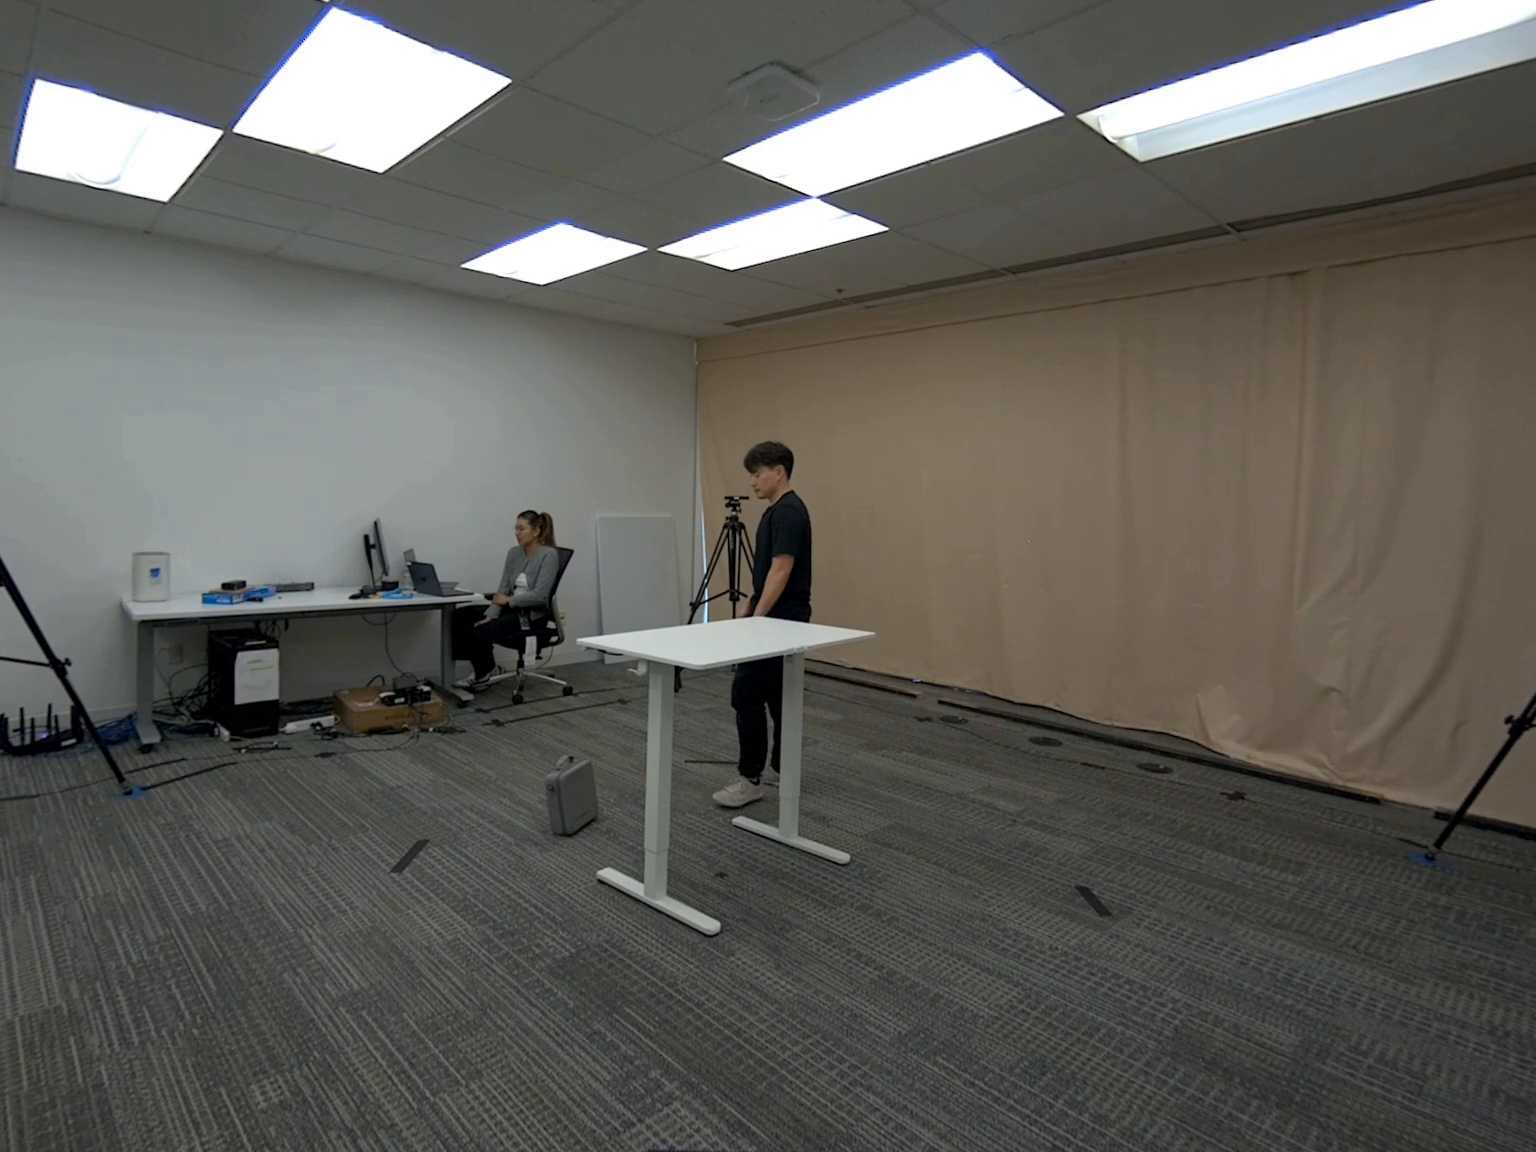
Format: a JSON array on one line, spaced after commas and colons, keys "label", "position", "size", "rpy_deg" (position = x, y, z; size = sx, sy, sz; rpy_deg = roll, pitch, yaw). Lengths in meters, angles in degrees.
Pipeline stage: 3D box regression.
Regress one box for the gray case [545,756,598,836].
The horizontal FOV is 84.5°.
[{"label": "gray case", "position": [-0.824, 0.913, 3.527], "size": [0.105, 0.261, 0.253], "rpy_deg": [-7, 0, 18]}]
